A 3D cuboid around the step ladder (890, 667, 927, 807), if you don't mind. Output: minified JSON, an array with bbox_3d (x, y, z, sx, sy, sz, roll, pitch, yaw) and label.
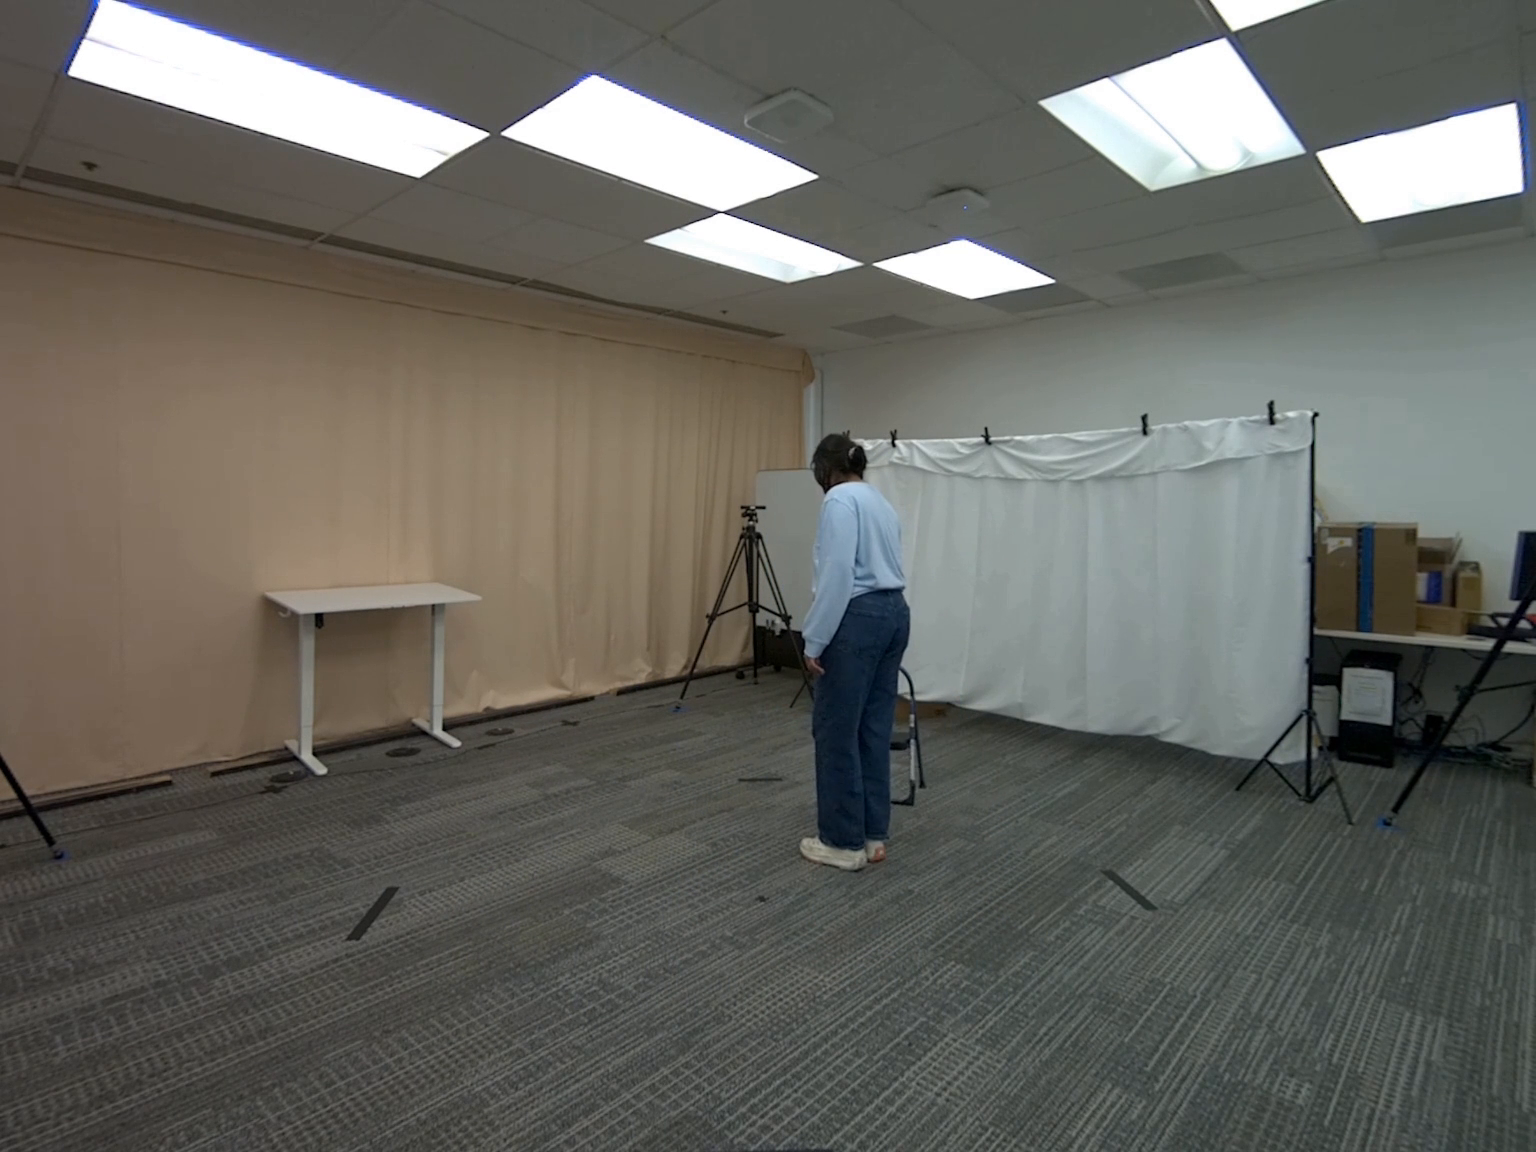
[{"bbox_3d":[0.456,0.665,3.746,0.439,0.606,0.342,-2,-1,19],"label":"step ladder"}]
